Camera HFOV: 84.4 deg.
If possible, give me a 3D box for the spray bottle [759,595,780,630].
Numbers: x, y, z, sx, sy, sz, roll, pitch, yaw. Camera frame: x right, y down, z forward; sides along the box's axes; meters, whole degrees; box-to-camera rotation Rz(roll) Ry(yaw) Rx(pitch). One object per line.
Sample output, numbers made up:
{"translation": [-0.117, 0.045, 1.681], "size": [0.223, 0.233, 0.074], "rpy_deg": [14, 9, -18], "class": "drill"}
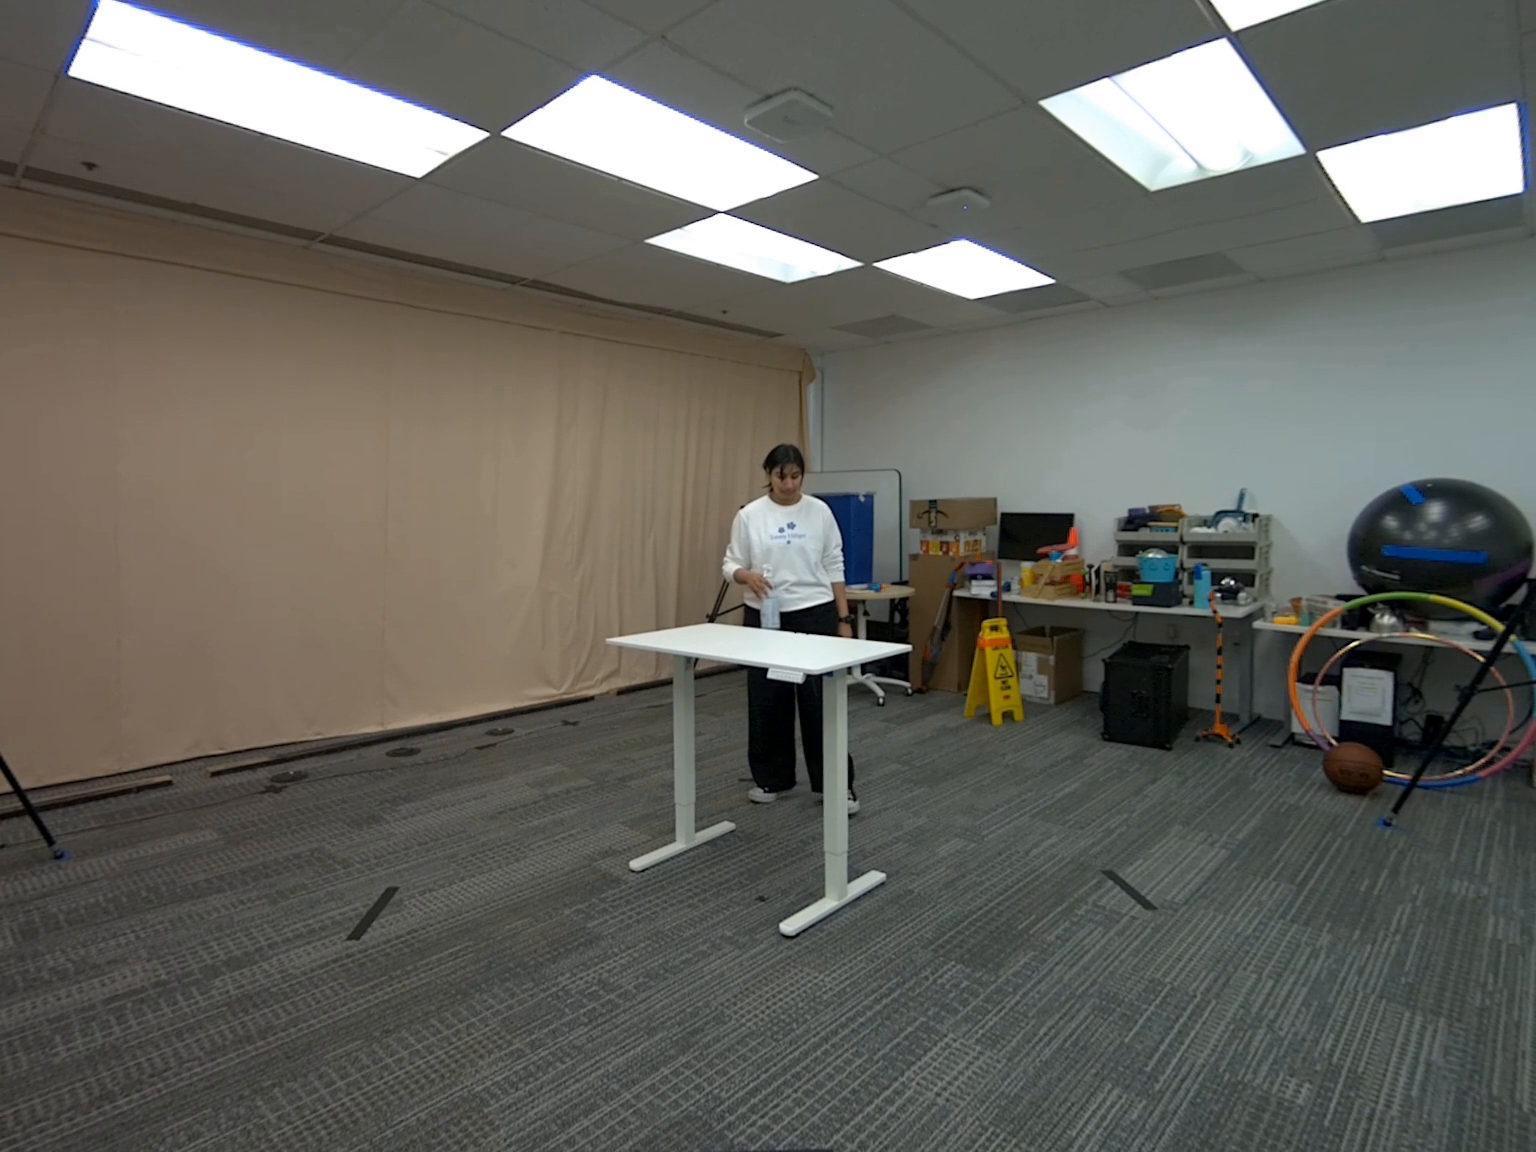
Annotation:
{"translation": [0.010, 0.095, 3.772], "size": [0.087, 0.297, 0.090], "rpy_deg": [-2, 4, -45], "class": "spray bottle"}
